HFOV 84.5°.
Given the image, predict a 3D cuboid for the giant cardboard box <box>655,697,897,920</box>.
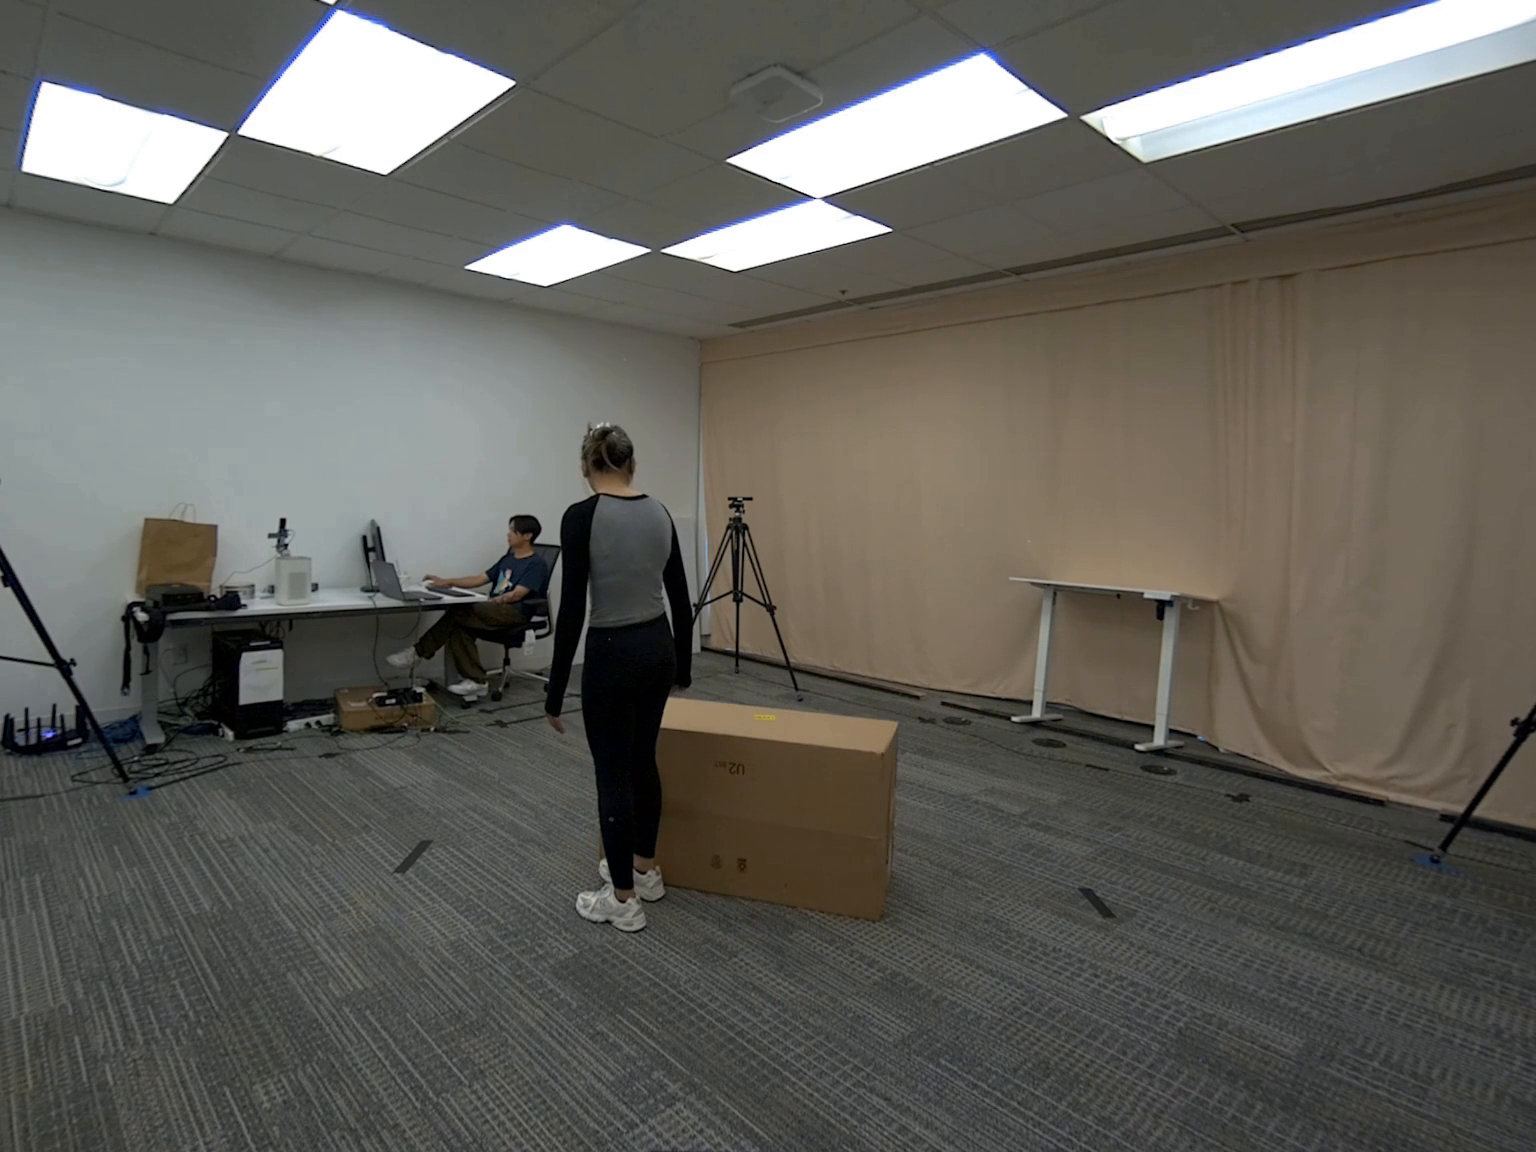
[{"bbox_3d":[-0.062,0.819,3.128,1.041,0.576,0.421,3,5,18],"label":"giant cardboard box"}]
